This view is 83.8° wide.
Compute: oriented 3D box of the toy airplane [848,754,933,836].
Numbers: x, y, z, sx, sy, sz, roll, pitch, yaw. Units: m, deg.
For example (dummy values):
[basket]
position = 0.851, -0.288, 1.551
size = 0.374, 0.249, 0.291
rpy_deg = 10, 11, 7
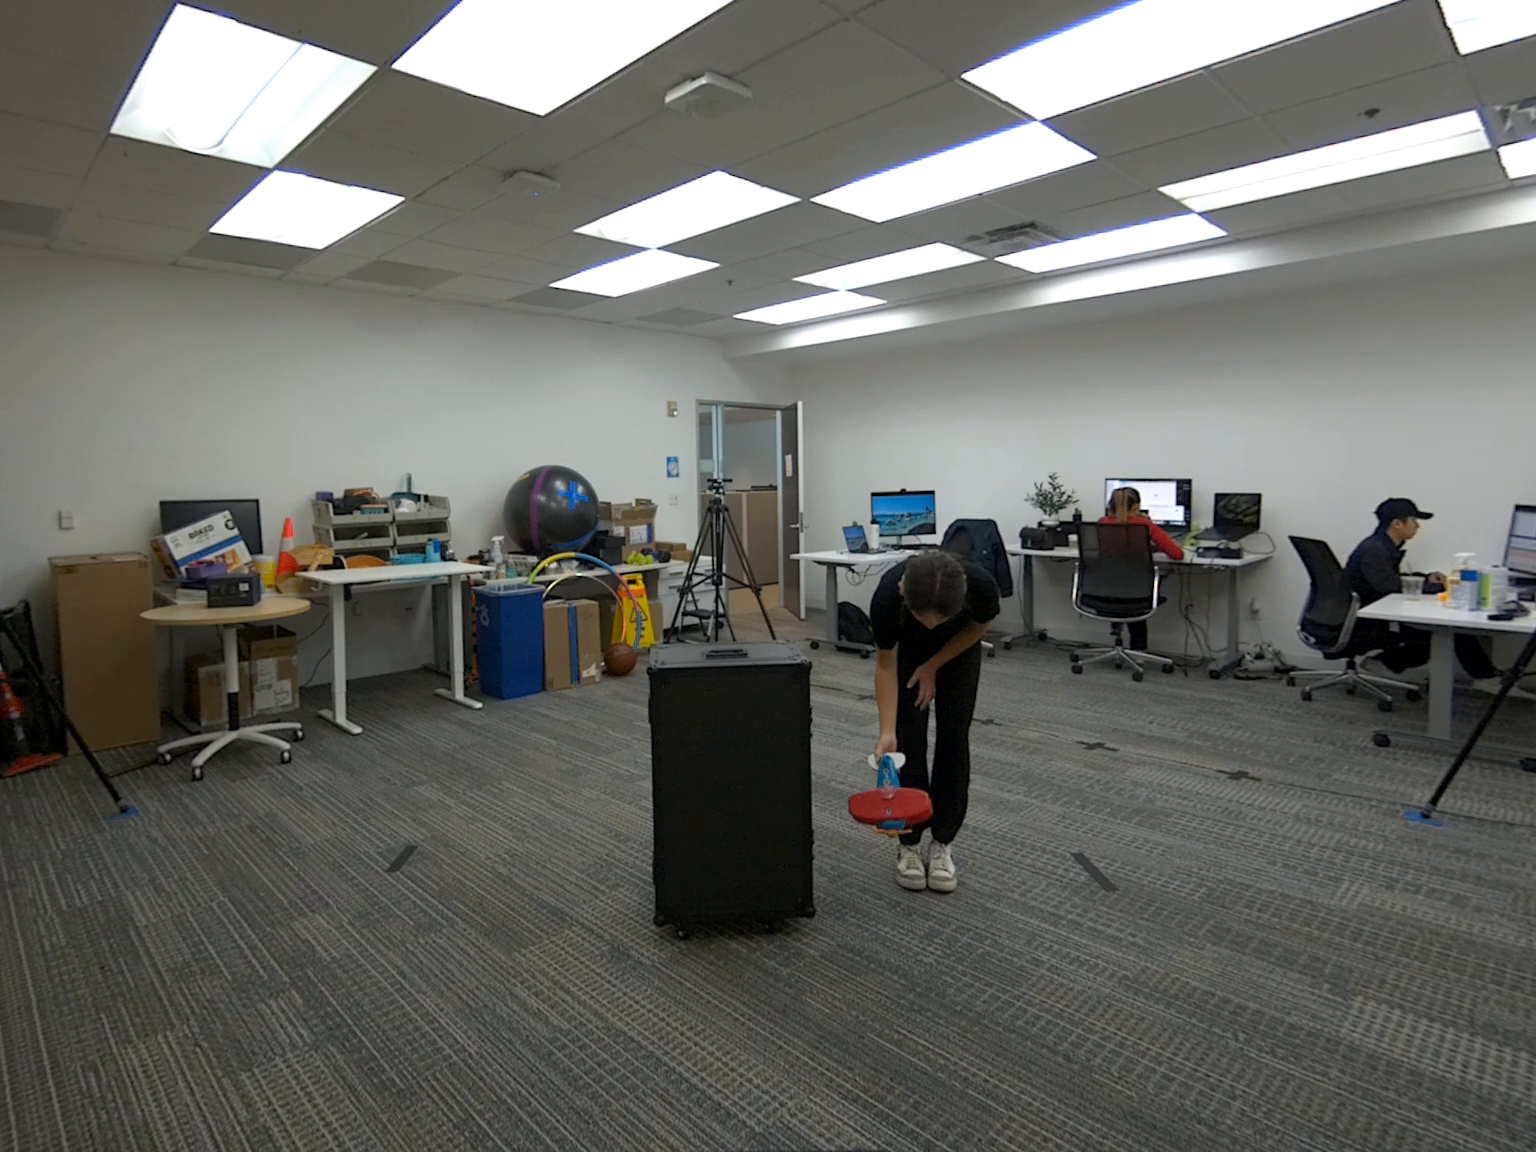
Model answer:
[toy airplane]
position = 0.371, 0.701, 2.763
size = 0.251, 0.266, 0.152
rpy_deg = -34, -20, 5
